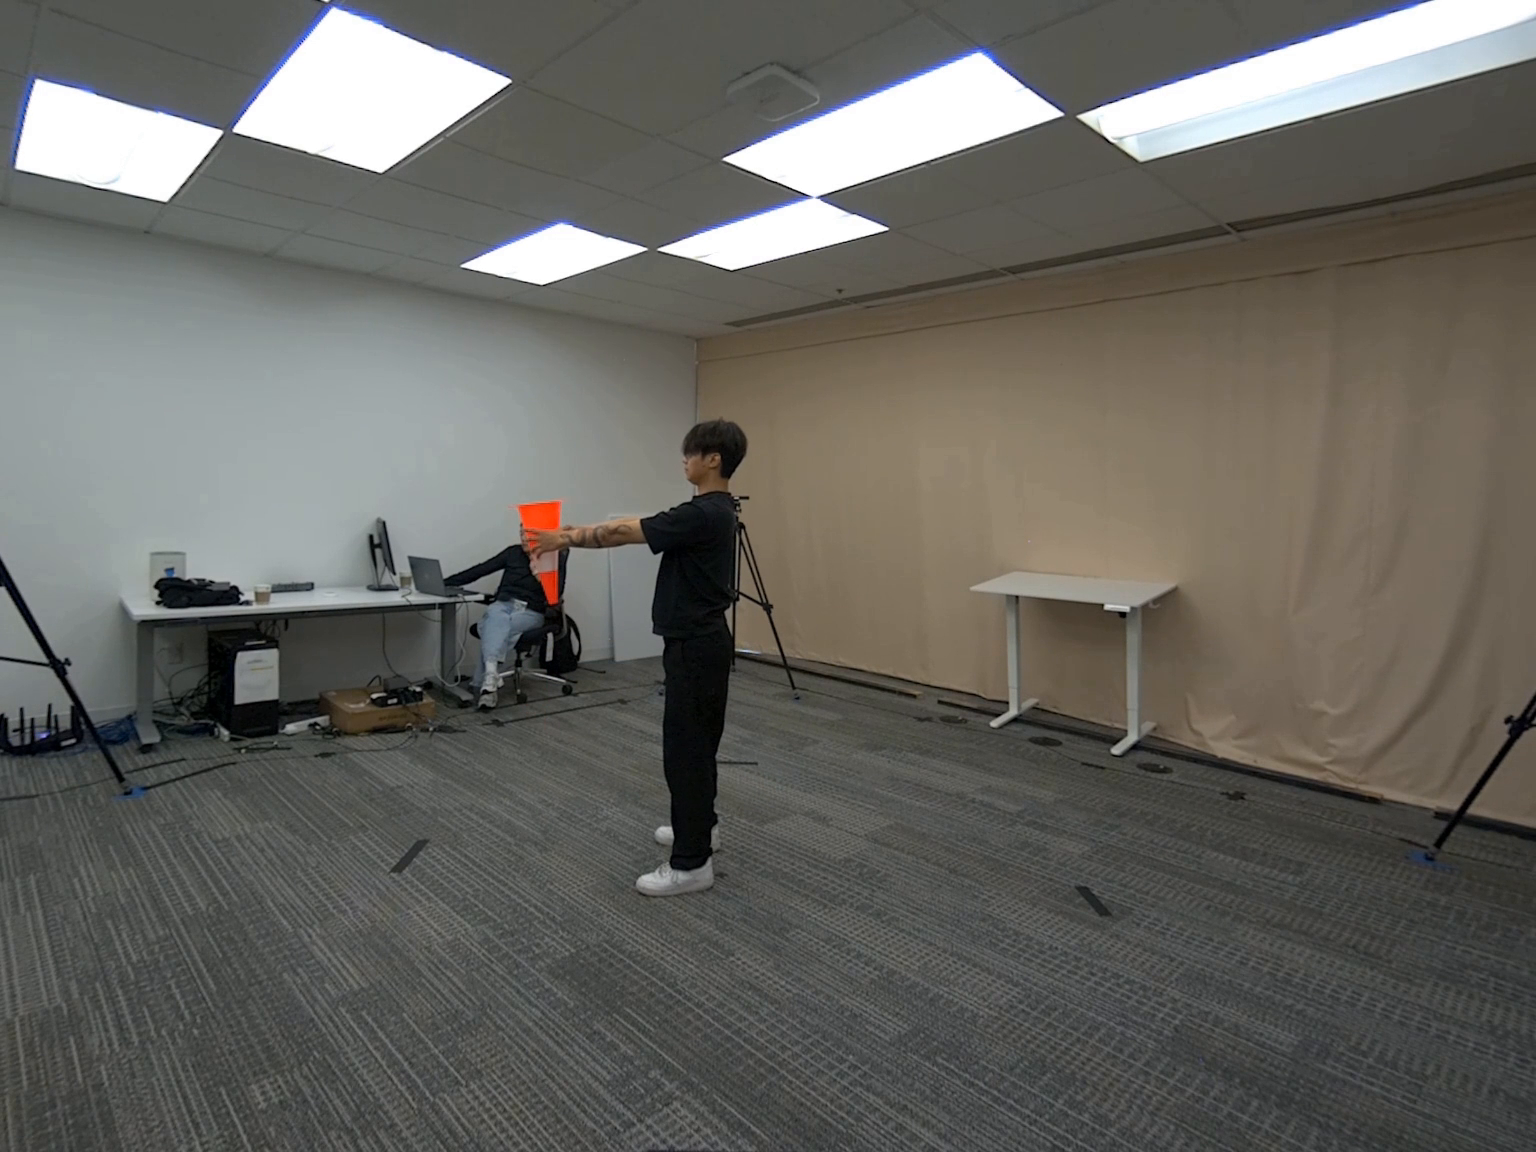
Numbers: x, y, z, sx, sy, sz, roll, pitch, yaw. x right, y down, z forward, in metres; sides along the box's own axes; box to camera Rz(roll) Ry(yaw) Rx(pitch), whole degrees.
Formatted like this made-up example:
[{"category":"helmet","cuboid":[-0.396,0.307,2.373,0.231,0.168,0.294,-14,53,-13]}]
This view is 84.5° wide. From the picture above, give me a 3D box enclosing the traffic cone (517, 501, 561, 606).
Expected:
[{"category":"traffic cone","cuboid":[-0.842,-0.080,3.150,0.203,0.382,0.206,-6,6,-3]}]
